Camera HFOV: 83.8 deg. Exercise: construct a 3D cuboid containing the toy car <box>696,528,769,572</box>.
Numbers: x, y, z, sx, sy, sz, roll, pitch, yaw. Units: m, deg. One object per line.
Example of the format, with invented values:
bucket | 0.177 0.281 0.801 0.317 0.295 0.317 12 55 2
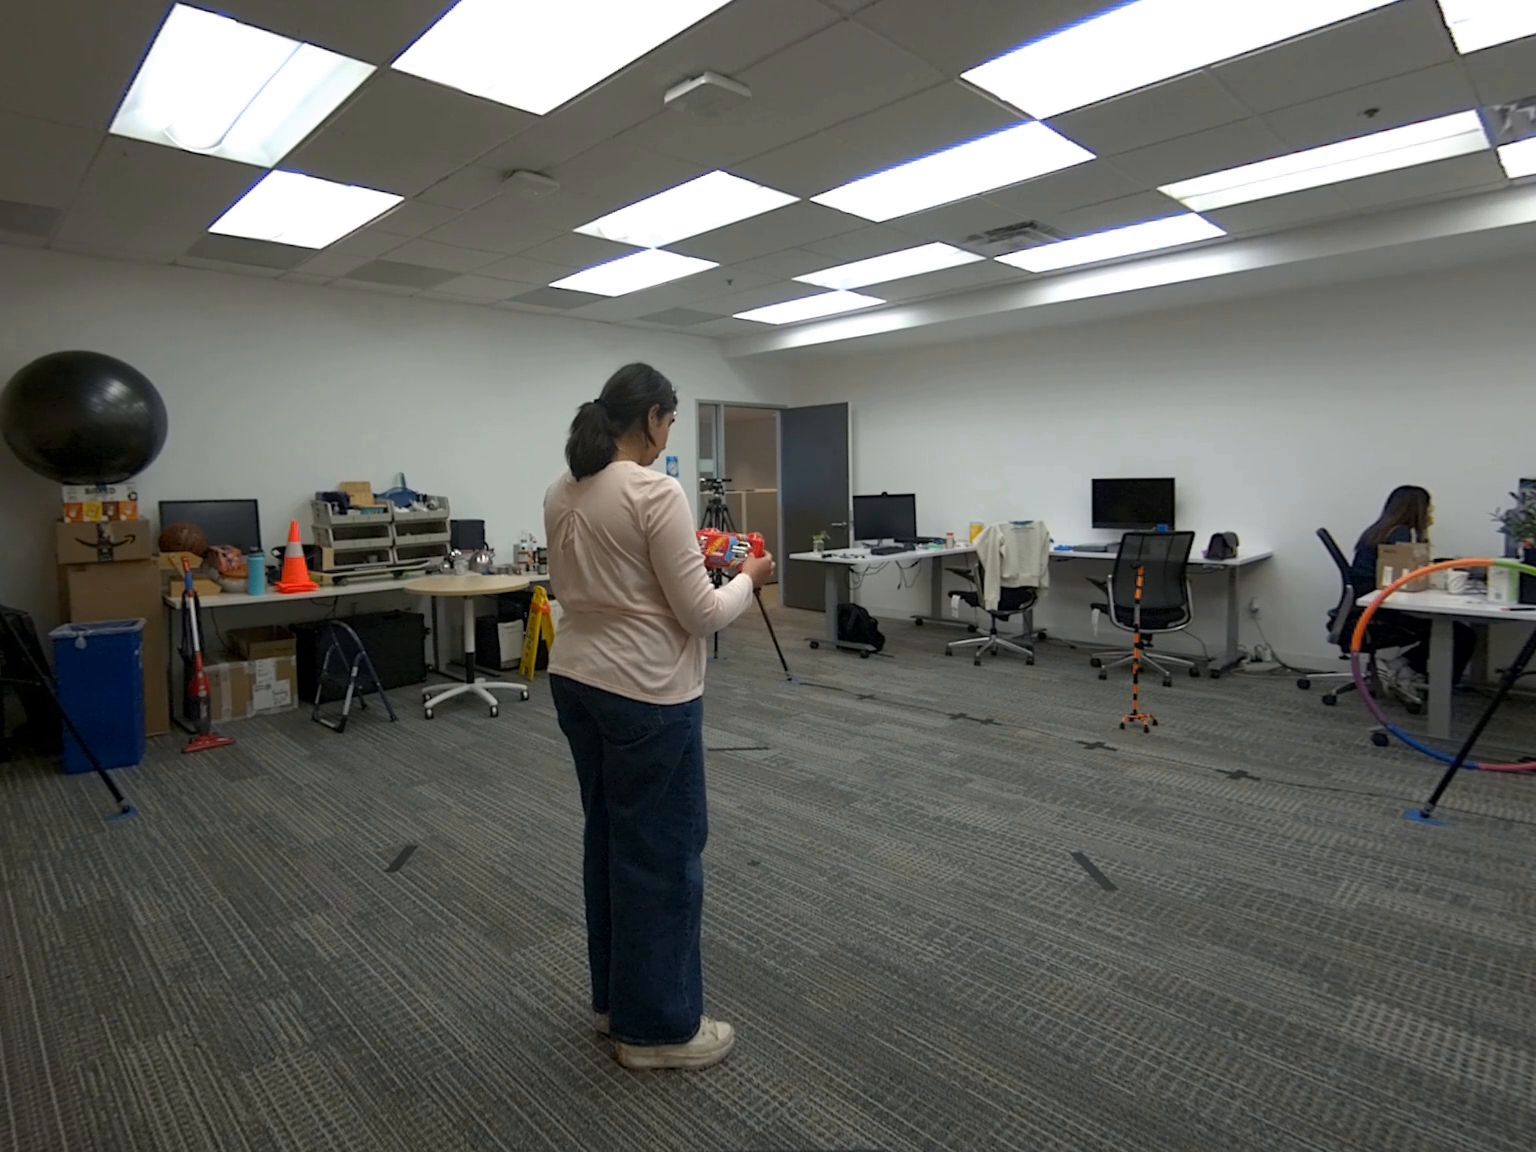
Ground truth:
toy car | -0.120 -0.071 2.362 0.261 0.131 0.080 10 -15 23
